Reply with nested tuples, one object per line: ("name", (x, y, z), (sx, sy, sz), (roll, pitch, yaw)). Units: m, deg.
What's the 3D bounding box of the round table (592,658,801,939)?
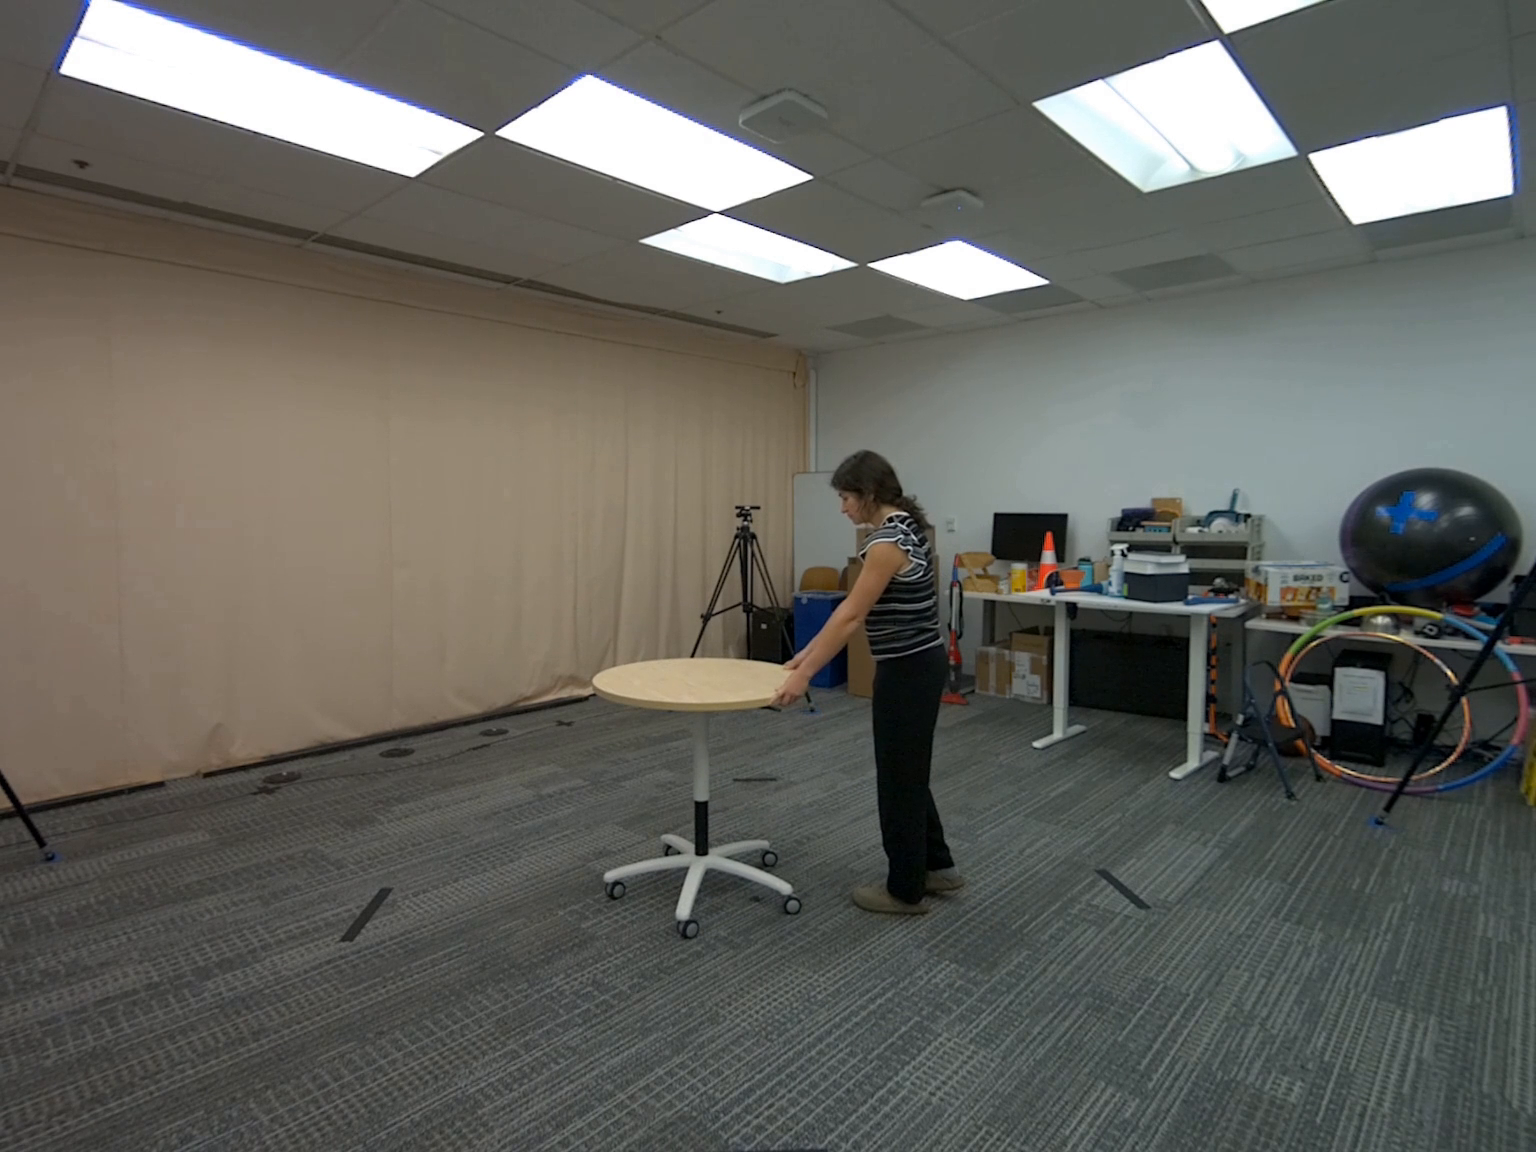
("round table", (-0.235, 0.757, 3.023), (0.763, 0.792, 0.766), (0, 3, -2))
